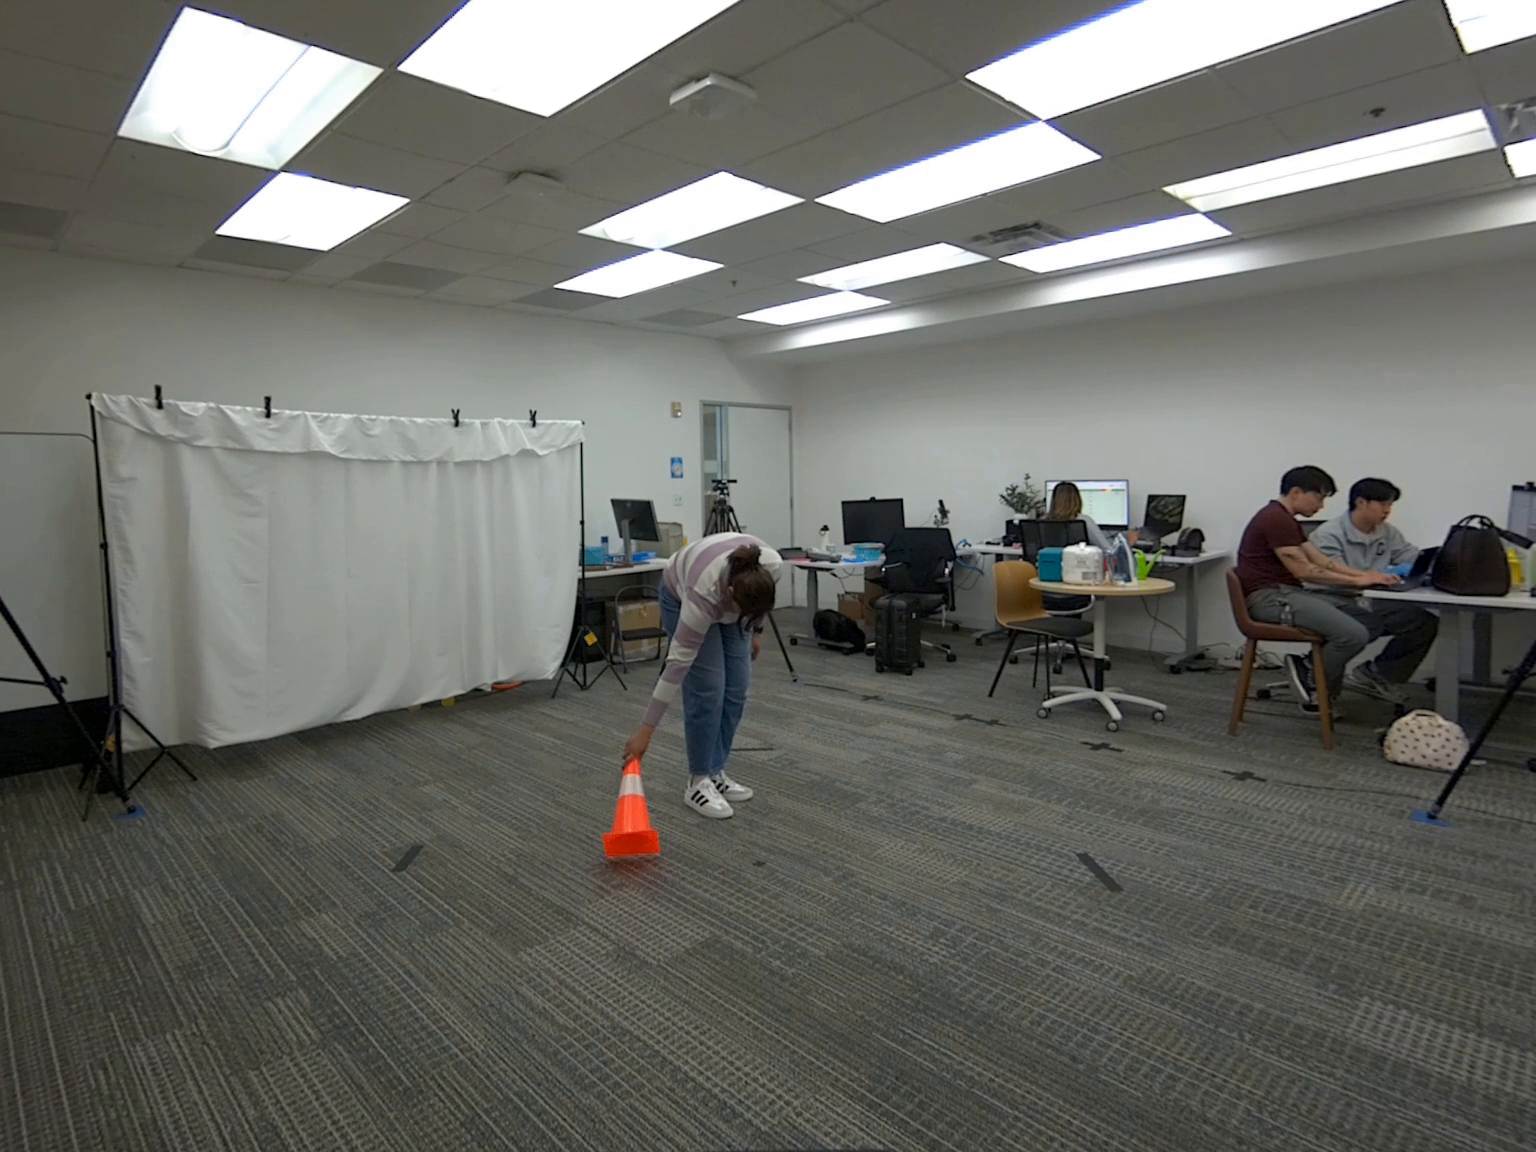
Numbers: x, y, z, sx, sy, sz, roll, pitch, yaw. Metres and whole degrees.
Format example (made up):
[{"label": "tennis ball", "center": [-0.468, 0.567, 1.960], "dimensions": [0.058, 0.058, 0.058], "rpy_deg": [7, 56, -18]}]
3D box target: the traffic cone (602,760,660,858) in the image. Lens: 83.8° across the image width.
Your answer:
[{"label": "traffic cone", "center": [-0.524, 0.833, 3.228], "dimensions": [0.205, 0.395, 0.196], "rpy_deg": [-11, -42, 3]}]
